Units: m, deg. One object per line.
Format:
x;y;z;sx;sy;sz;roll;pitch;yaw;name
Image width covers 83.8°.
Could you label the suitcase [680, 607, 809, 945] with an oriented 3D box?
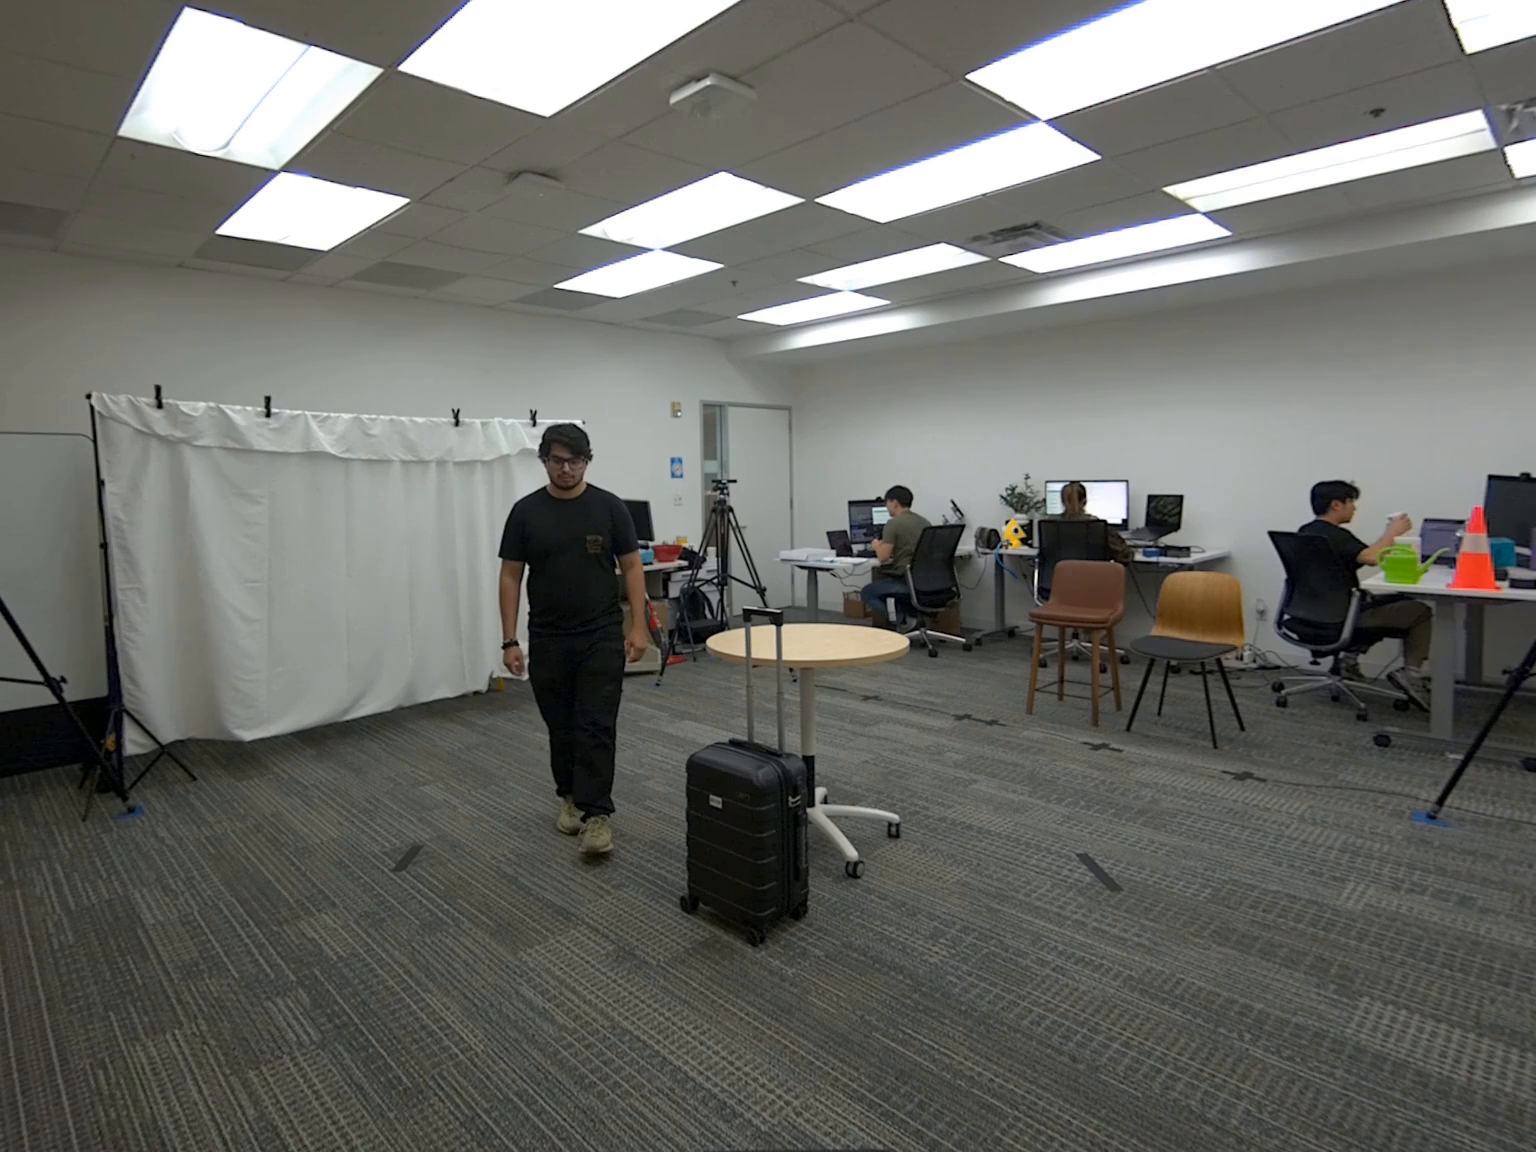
-0.074;0.614;2.701;0.396;0.973;0.250;4;7;41;suitcase
